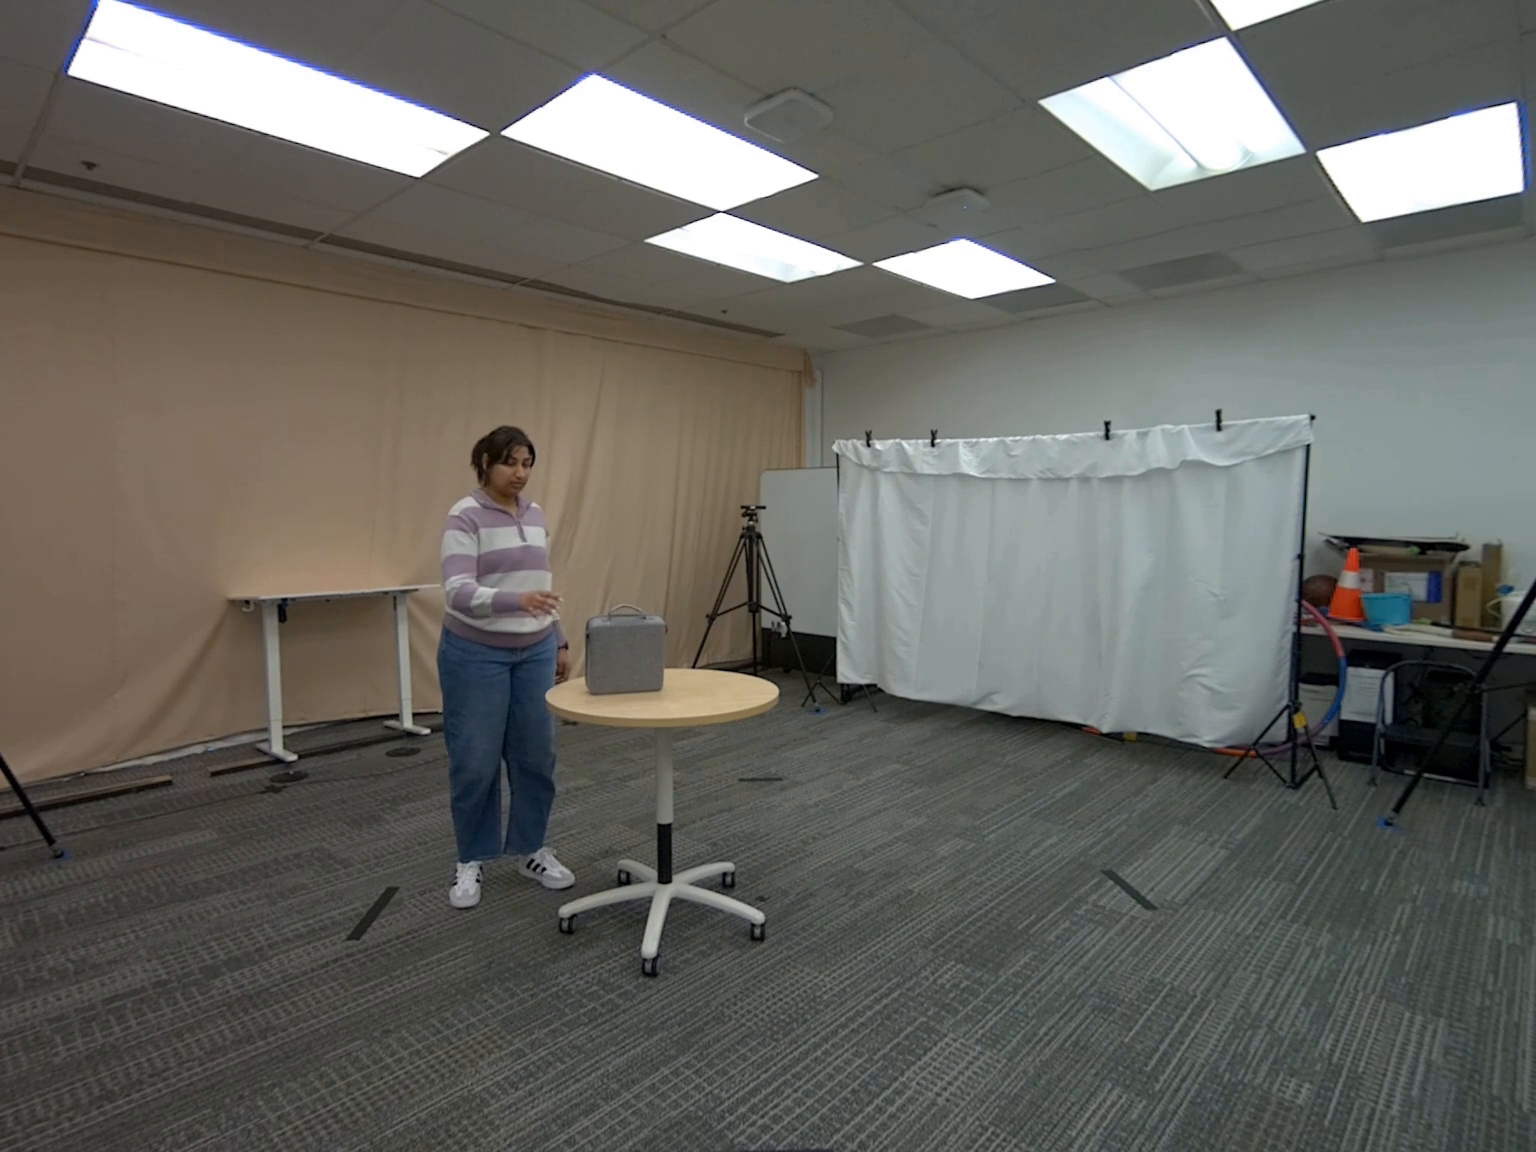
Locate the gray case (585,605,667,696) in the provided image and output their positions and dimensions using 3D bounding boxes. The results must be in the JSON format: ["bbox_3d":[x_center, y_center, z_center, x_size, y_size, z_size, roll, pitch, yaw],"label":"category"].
[{"bbox_3d":[-0.466,0.255,2.751,0.253,0.259,0.107,-3,12,-15],"label":"gray case"}]
